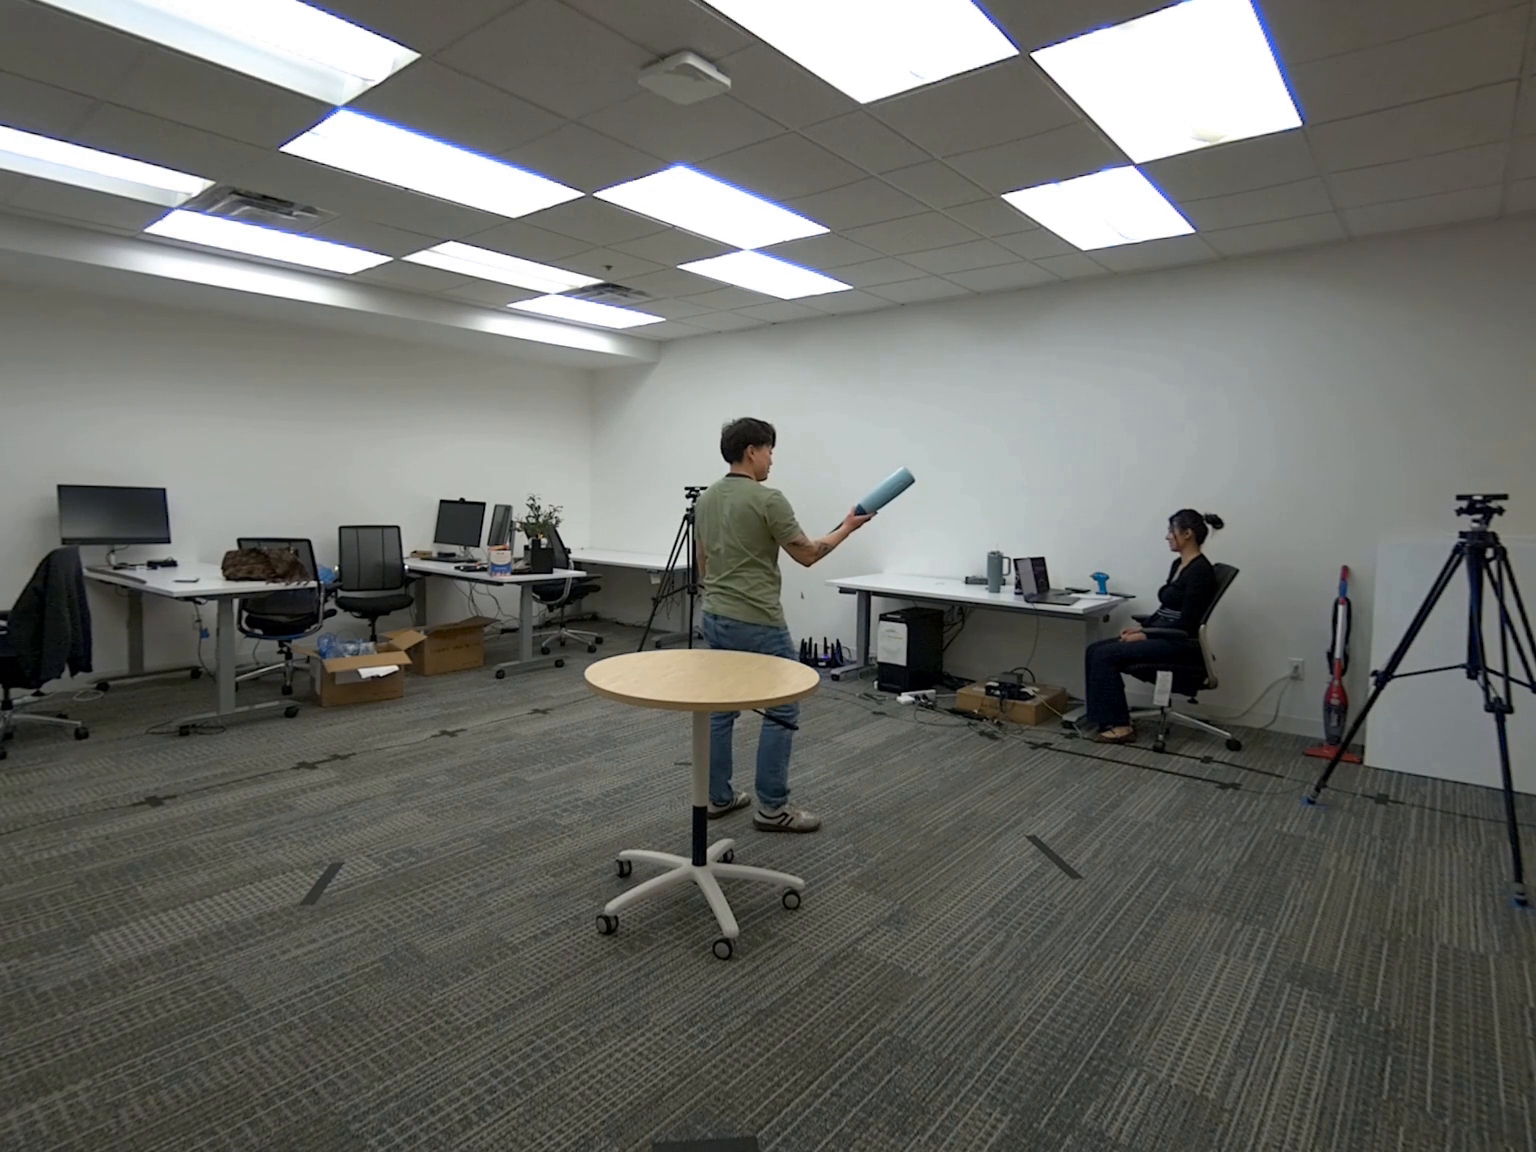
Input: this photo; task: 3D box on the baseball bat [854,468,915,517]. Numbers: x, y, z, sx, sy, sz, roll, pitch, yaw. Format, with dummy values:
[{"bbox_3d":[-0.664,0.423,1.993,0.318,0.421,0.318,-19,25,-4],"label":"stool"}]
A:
[{"bbox_3d":[0.391,-0.270,3.644,0.543,0.089,0.089,-39,1,5],"label":"baseball bat"}]
